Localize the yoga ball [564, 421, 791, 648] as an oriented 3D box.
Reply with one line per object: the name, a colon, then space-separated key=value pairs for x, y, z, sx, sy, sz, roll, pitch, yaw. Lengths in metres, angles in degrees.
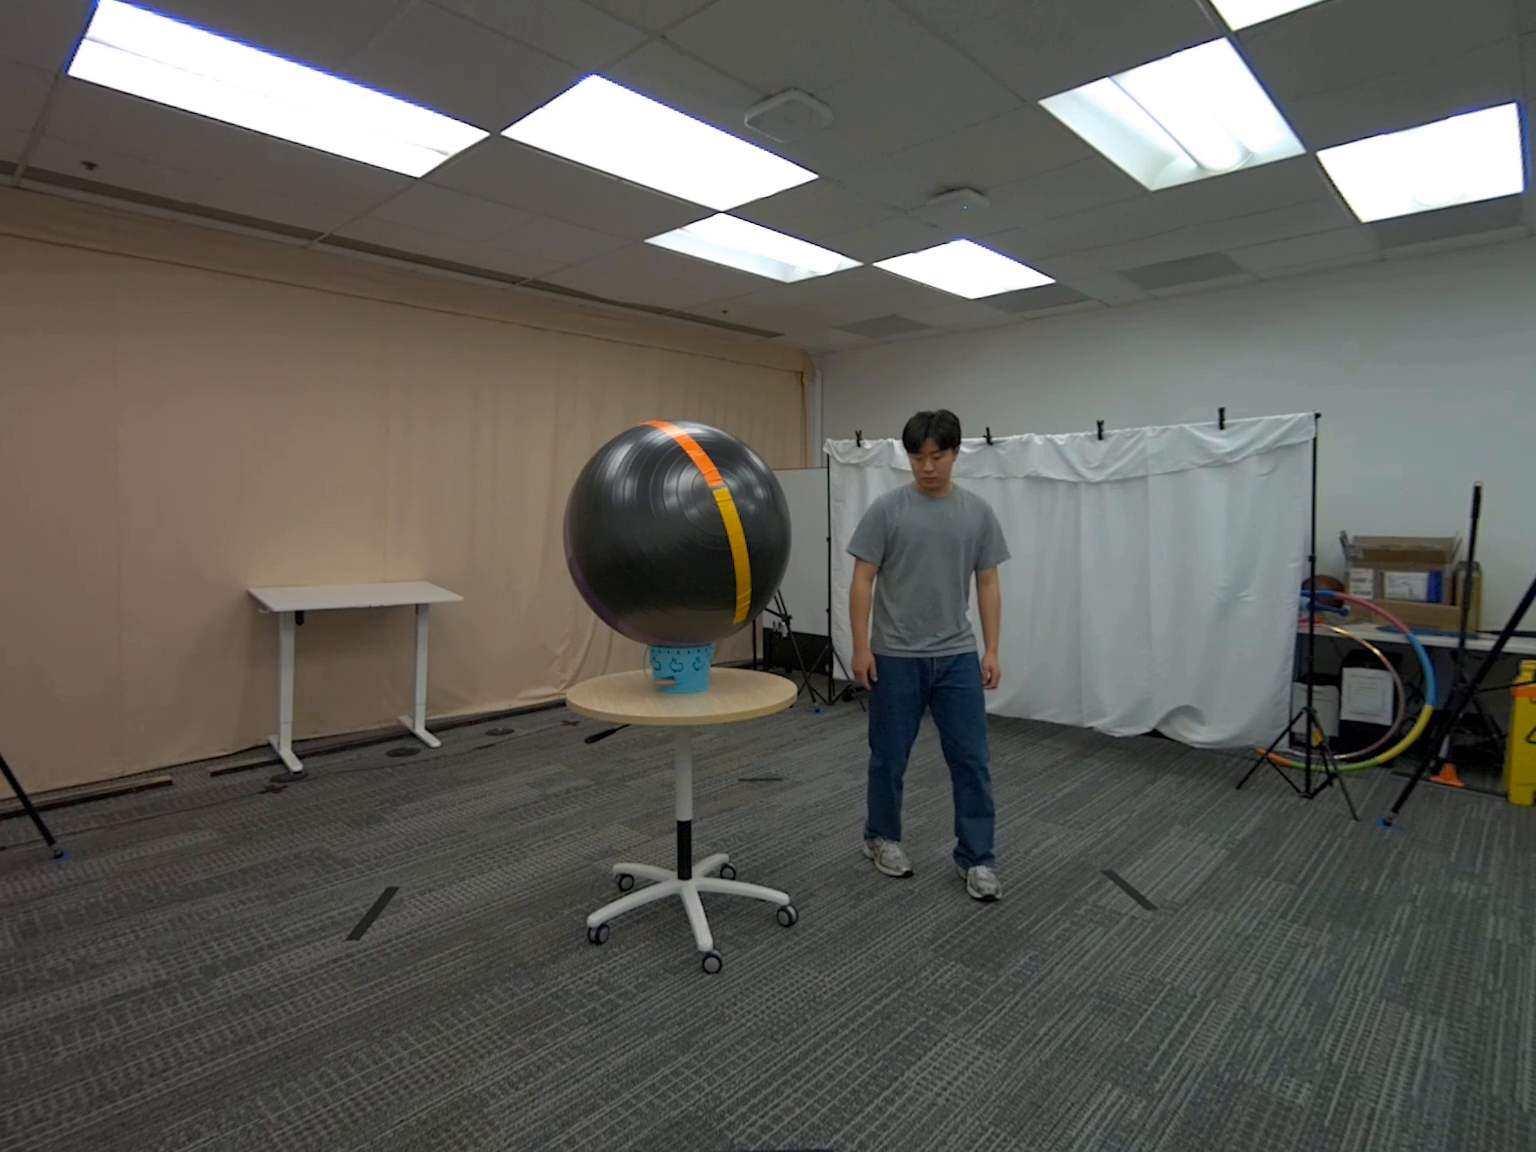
yoga ball: x=-0.303 y=-0.137 z=2.809 sx=0.757 sy=0.756 sz=0.760 roll=0 pitch=4 yaw=-2
